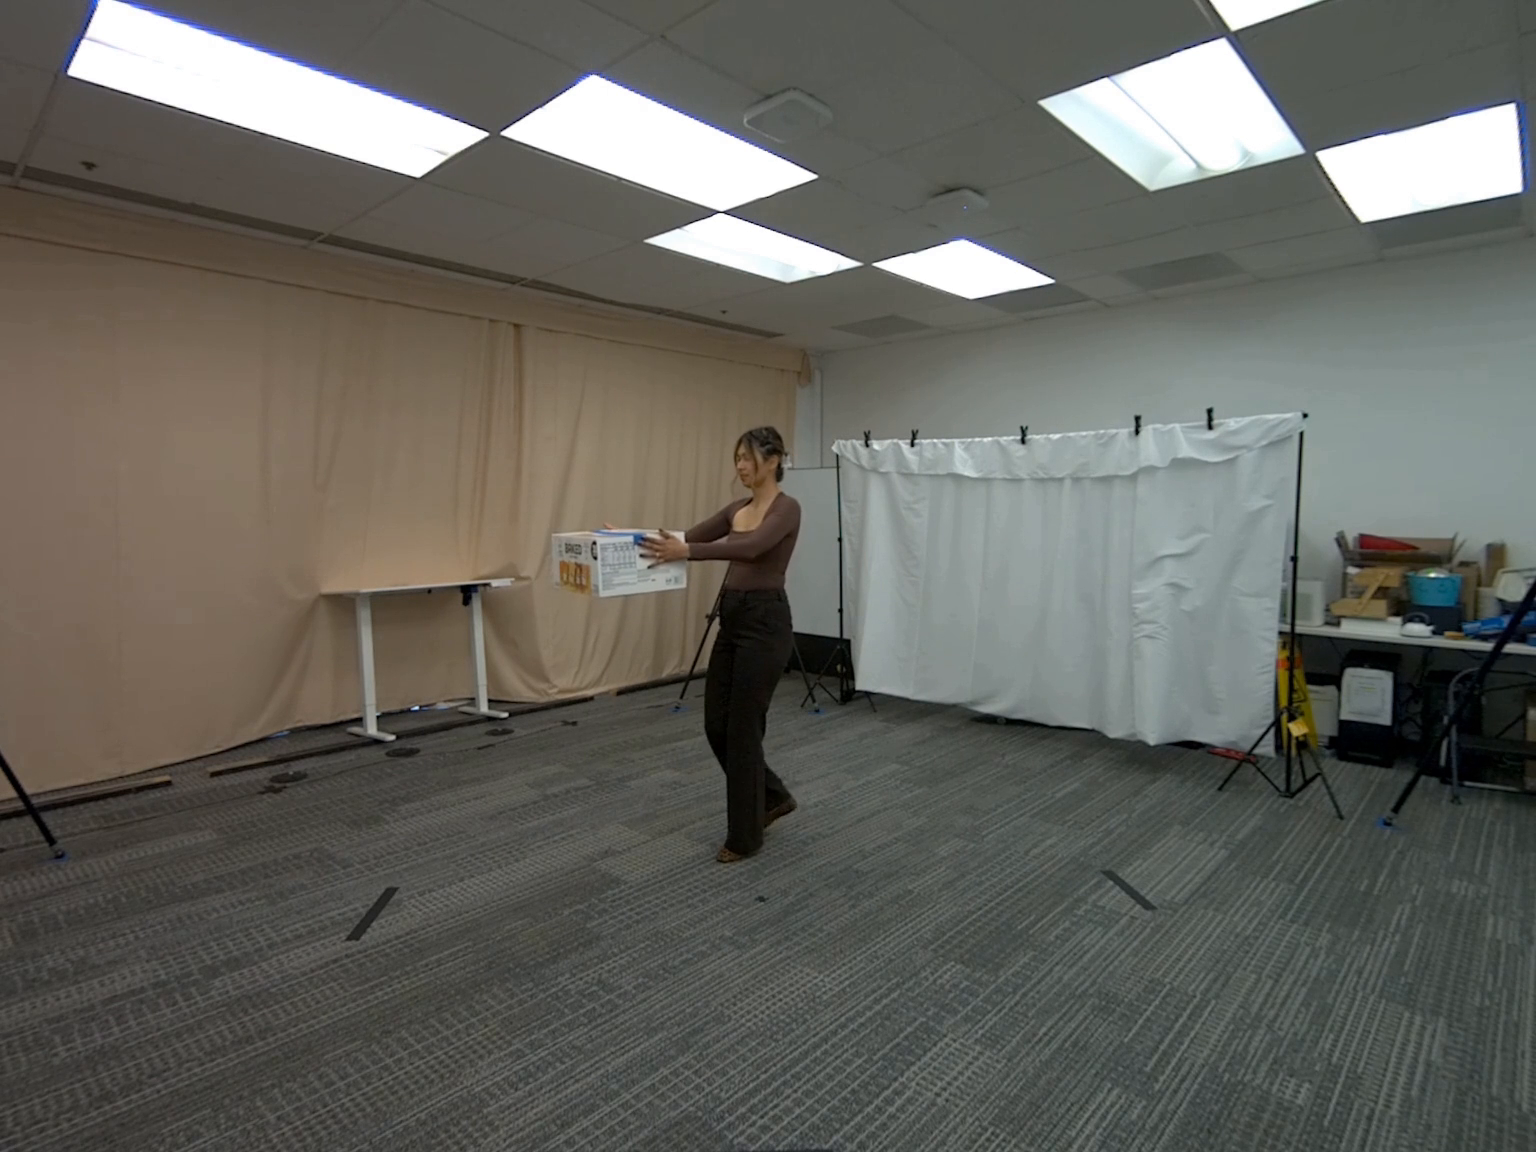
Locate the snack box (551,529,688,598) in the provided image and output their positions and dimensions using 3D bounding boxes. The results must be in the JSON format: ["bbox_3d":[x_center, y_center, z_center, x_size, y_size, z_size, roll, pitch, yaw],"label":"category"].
[{"bbox_3d":[-0.536,-0.050,3.062,0.331,0.205,0.418,-6,7,-34],"label":"snack box"}]
